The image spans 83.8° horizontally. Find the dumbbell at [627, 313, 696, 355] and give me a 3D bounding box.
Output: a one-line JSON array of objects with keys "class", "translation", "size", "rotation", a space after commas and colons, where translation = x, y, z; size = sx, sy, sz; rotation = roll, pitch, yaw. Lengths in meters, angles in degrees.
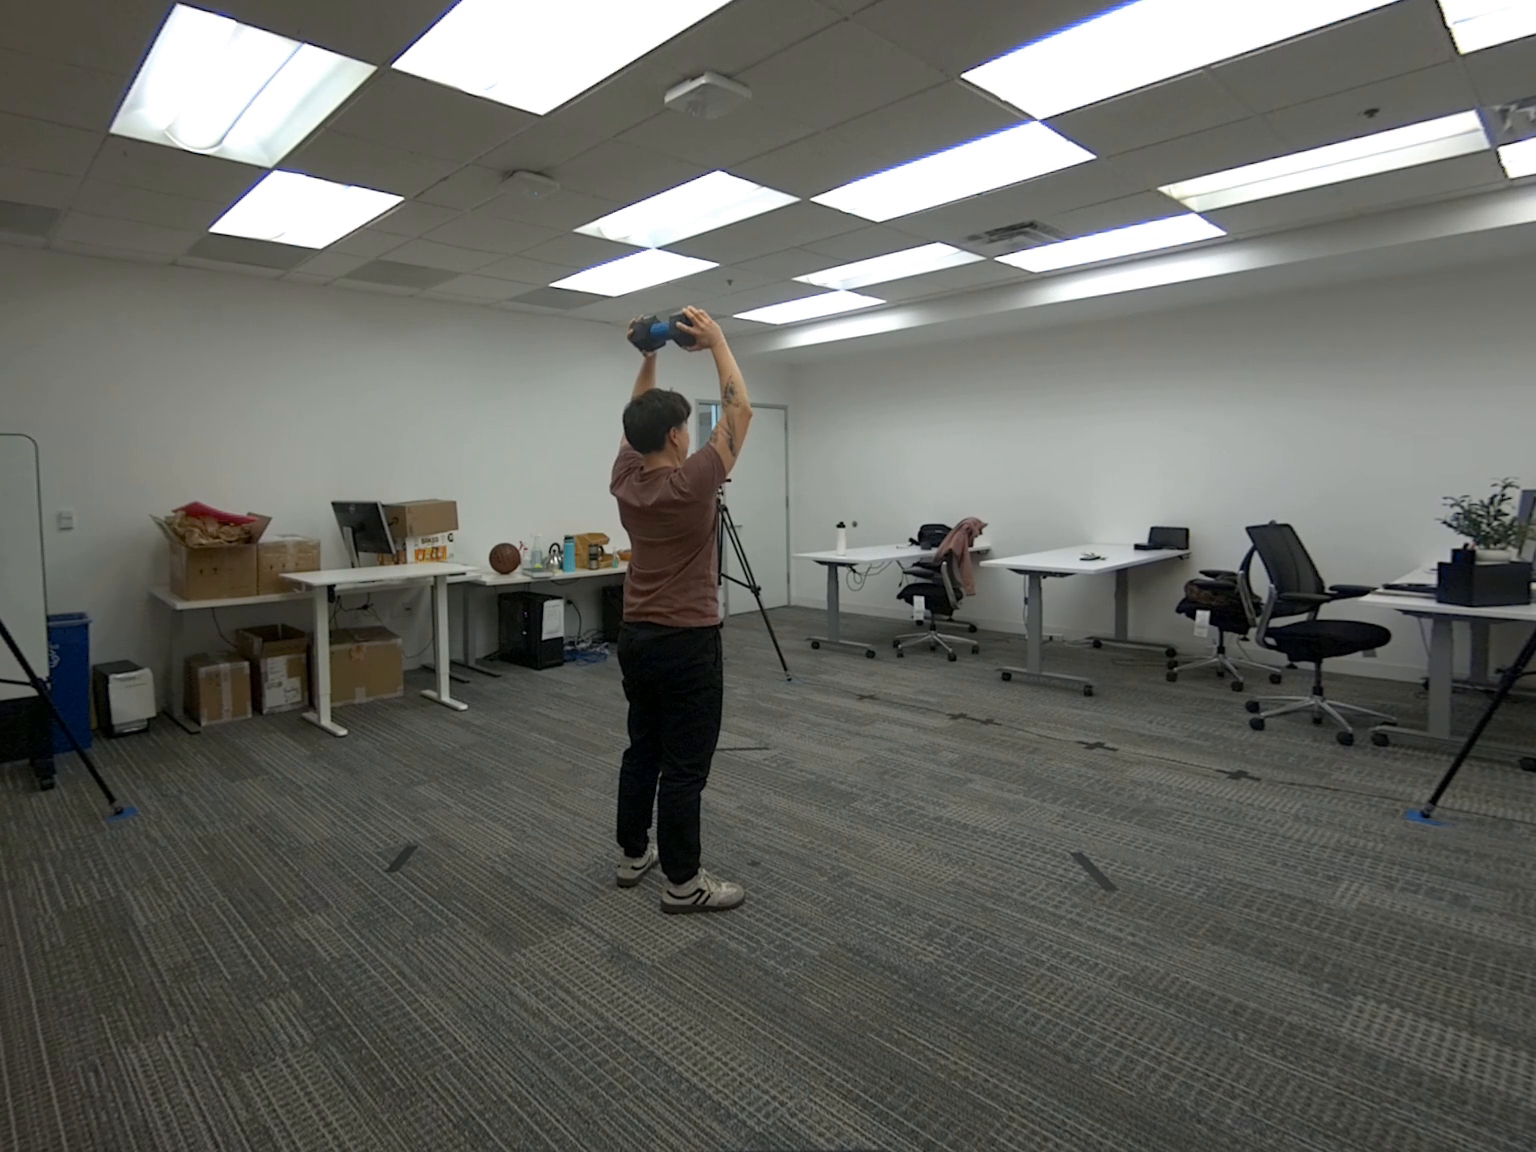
[{"class": "dumbbell", "translation": [-0.329, -0.809, 2.835], "size": [0.303, 0.109, 0.118], "rotation": [10, -22, 47]}]
